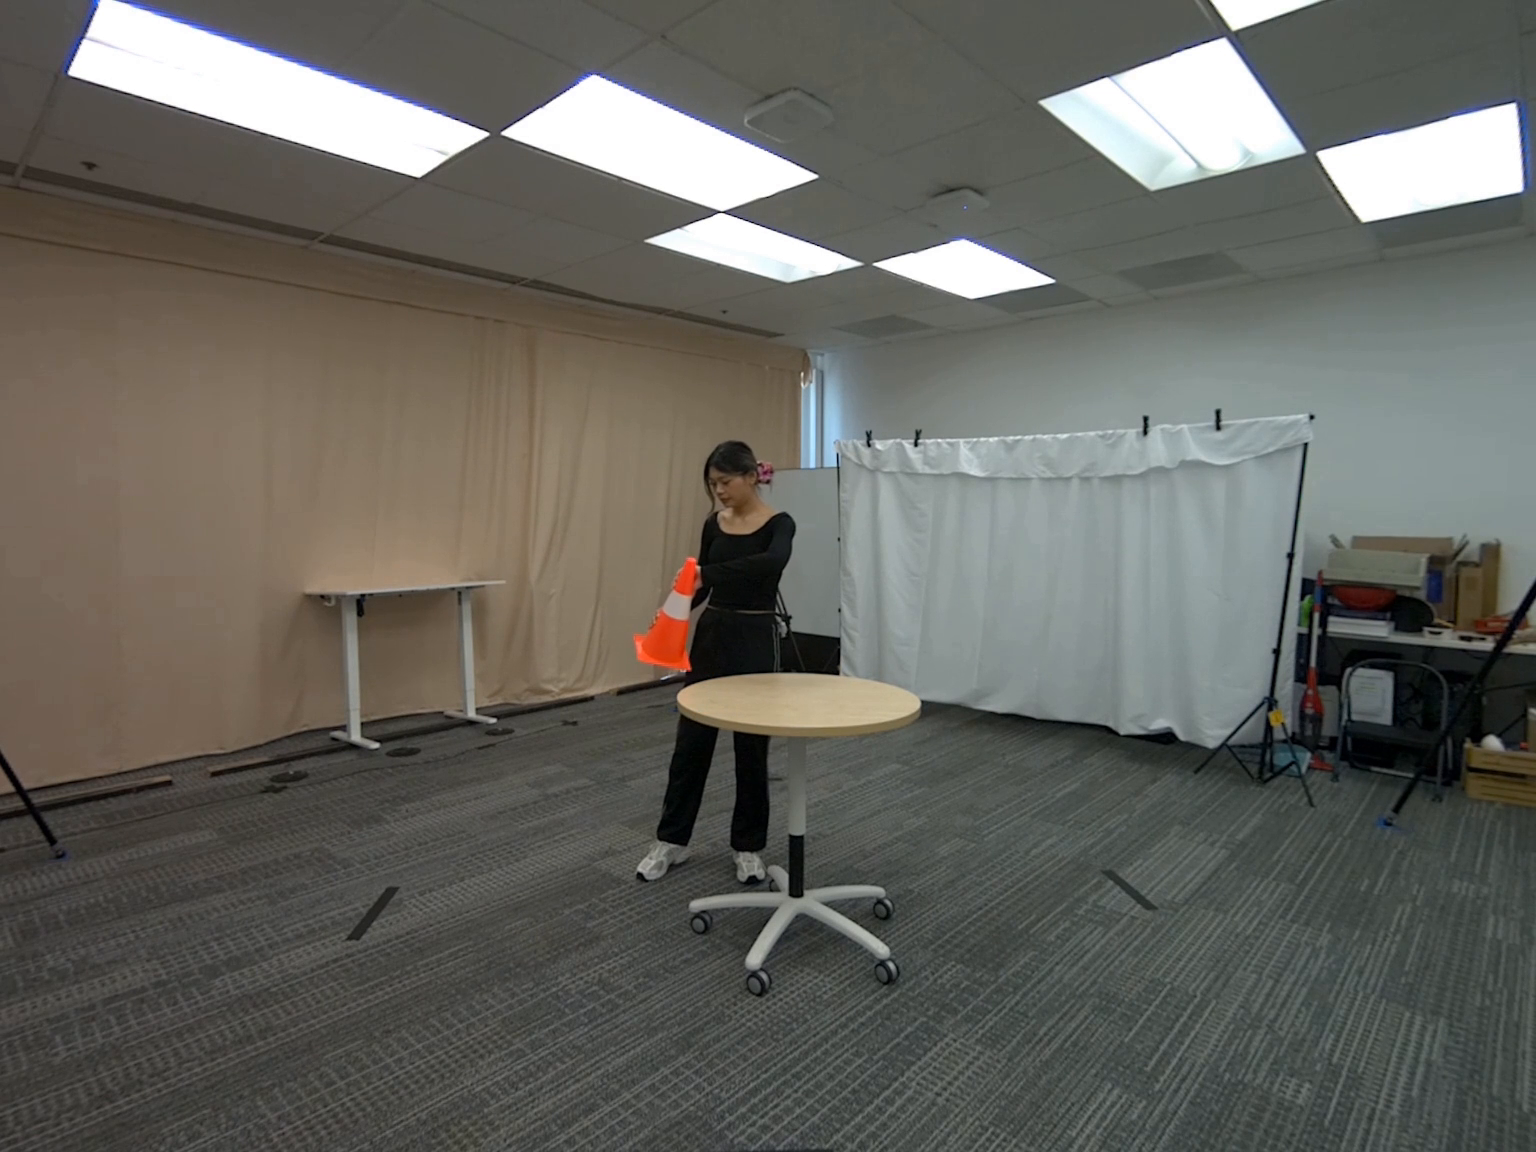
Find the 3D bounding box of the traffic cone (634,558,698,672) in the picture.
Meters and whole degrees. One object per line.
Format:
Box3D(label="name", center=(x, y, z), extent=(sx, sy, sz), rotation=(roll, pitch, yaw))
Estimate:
Box3D(label="traffic cone", center=(-0.316, 0.114, 2.979), extent=(0.201, 0.382, 0.208), rotation=(15, 19, -19))
